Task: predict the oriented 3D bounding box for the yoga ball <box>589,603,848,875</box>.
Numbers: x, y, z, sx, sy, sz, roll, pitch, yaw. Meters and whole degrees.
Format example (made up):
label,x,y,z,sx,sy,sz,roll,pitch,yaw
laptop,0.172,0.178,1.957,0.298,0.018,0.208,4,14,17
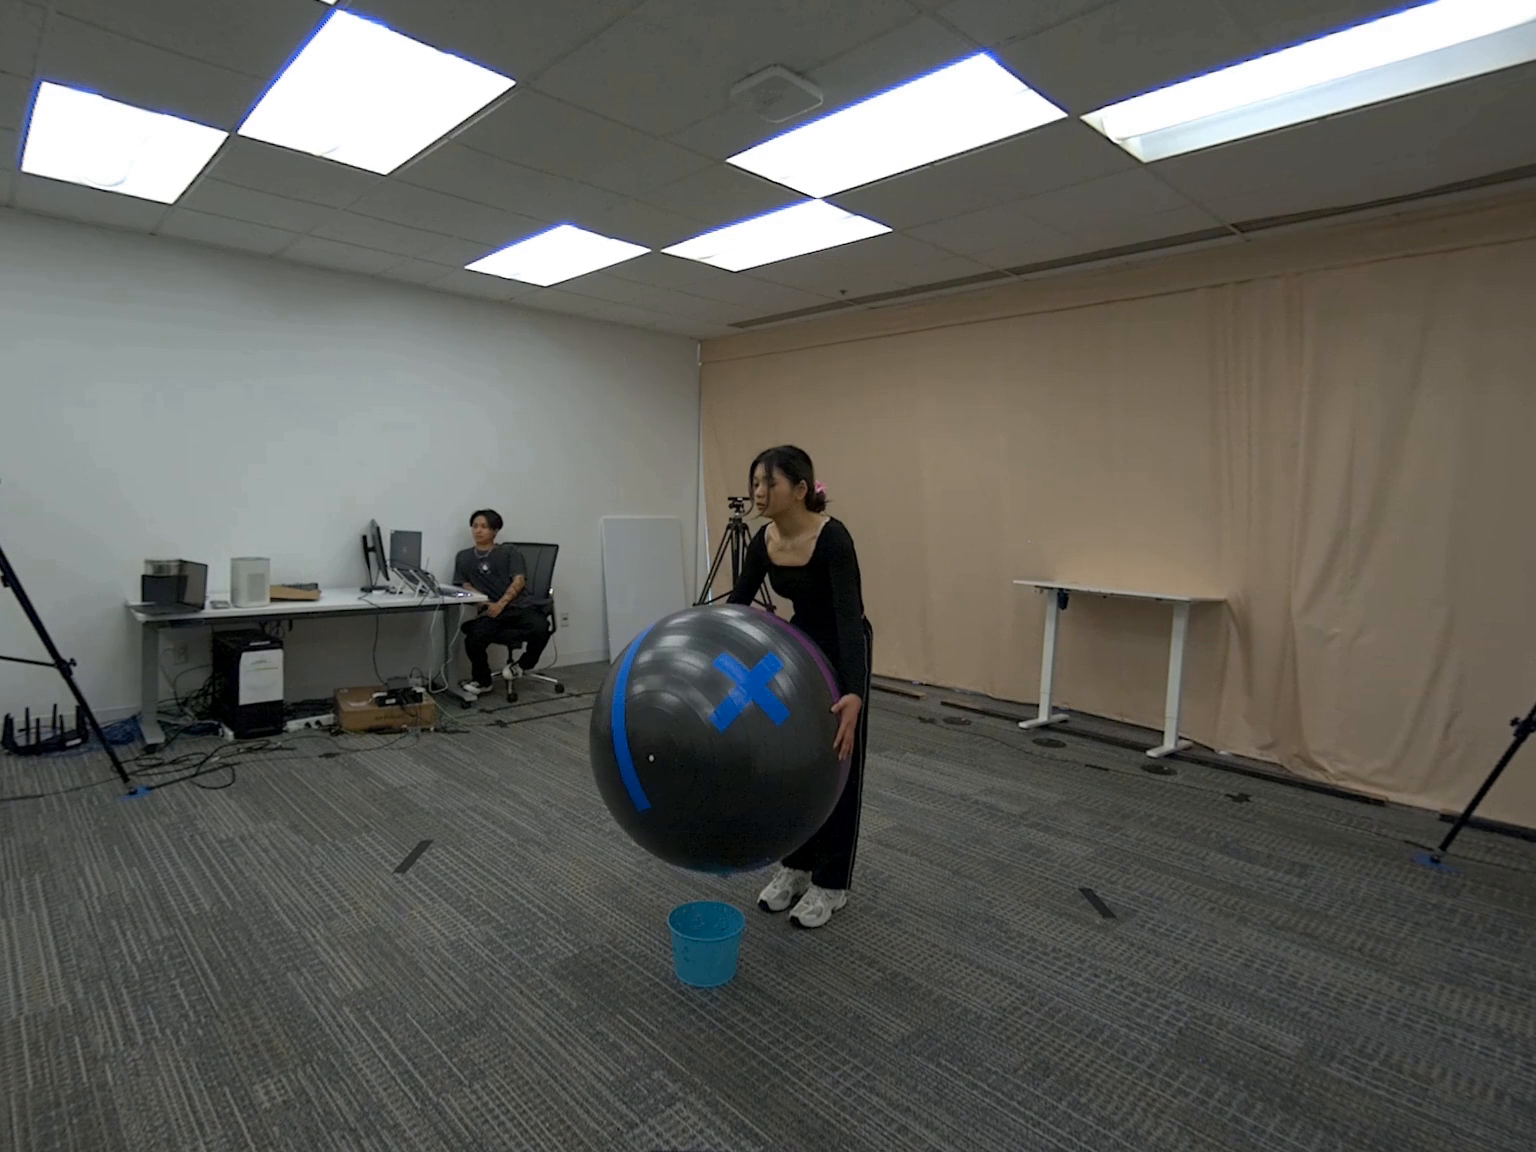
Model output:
label,x,y,z,sx,sy,sz,roll,pitch,yaw
yoga ball,-0.143,0.463,2.440,0.757,0.756,0.761,1,4,-1
